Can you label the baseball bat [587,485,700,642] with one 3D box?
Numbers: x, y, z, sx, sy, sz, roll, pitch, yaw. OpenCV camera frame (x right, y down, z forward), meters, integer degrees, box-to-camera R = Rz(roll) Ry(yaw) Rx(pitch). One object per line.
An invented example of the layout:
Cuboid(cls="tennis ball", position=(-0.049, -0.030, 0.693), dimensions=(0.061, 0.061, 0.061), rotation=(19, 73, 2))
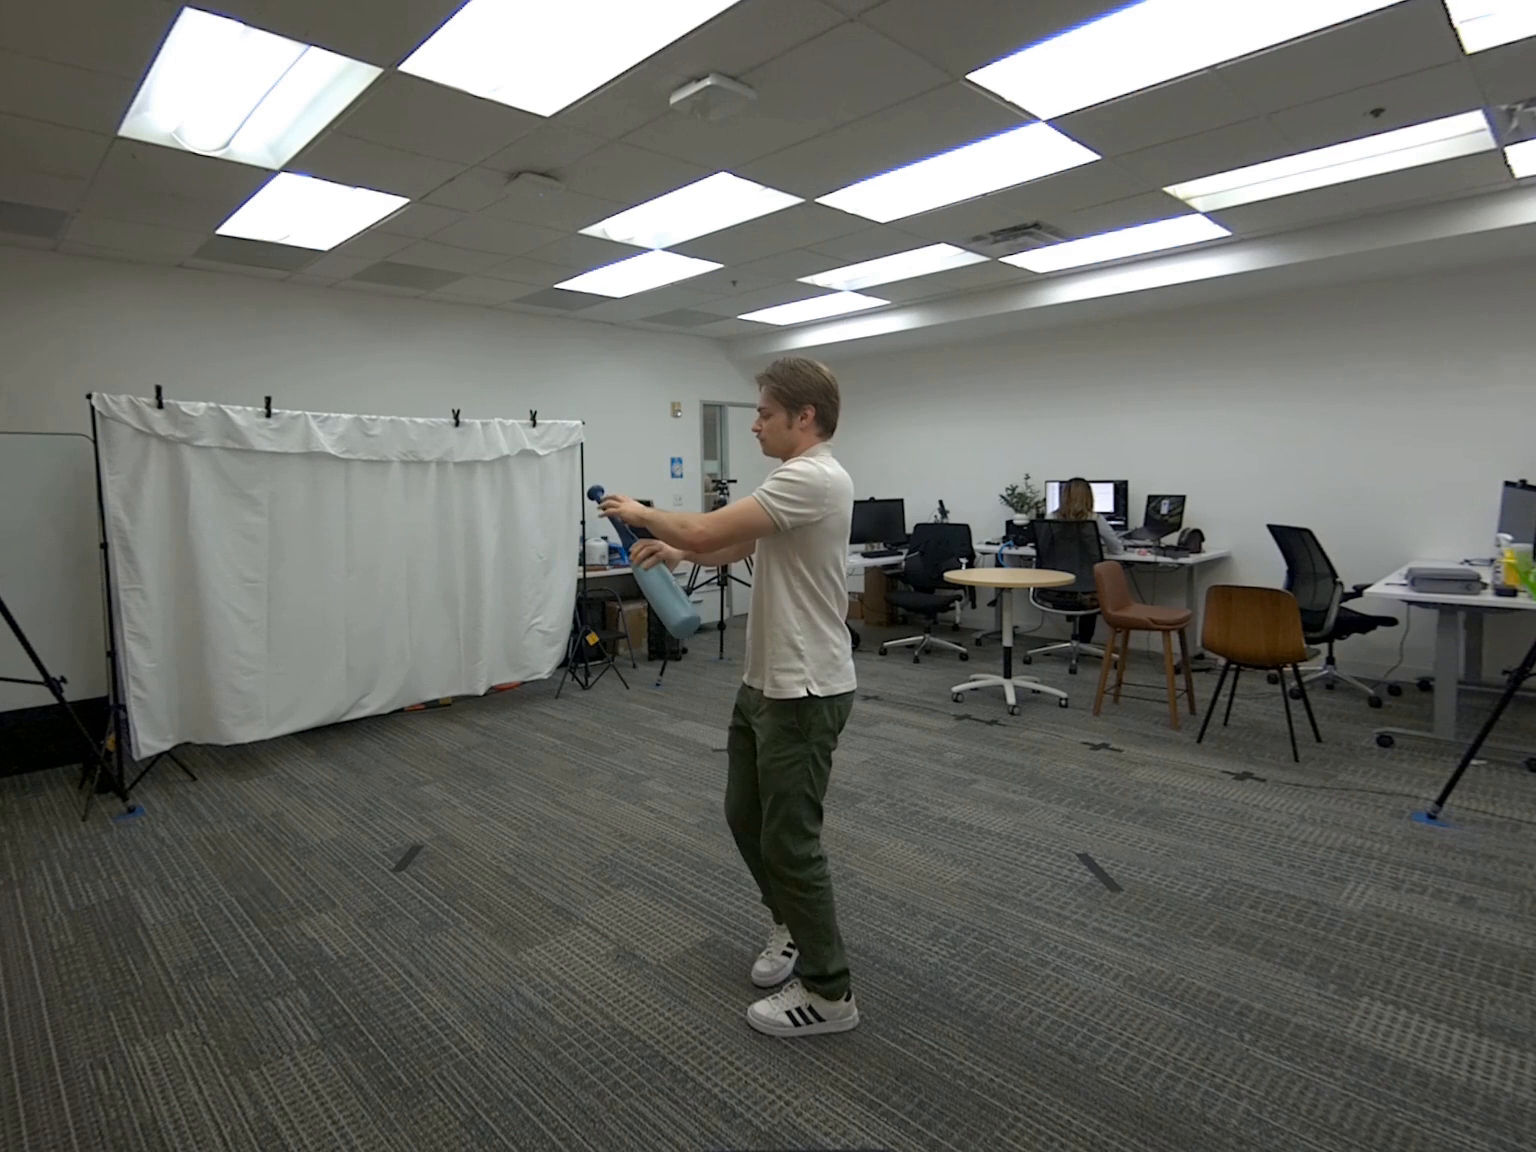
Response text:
Cuboid(cls="baseball bat", position=(-0.335, -0.053, 2.252), dimensions=(0.087, 0.088, 0.563), rotation=(-4, 43, -39))
